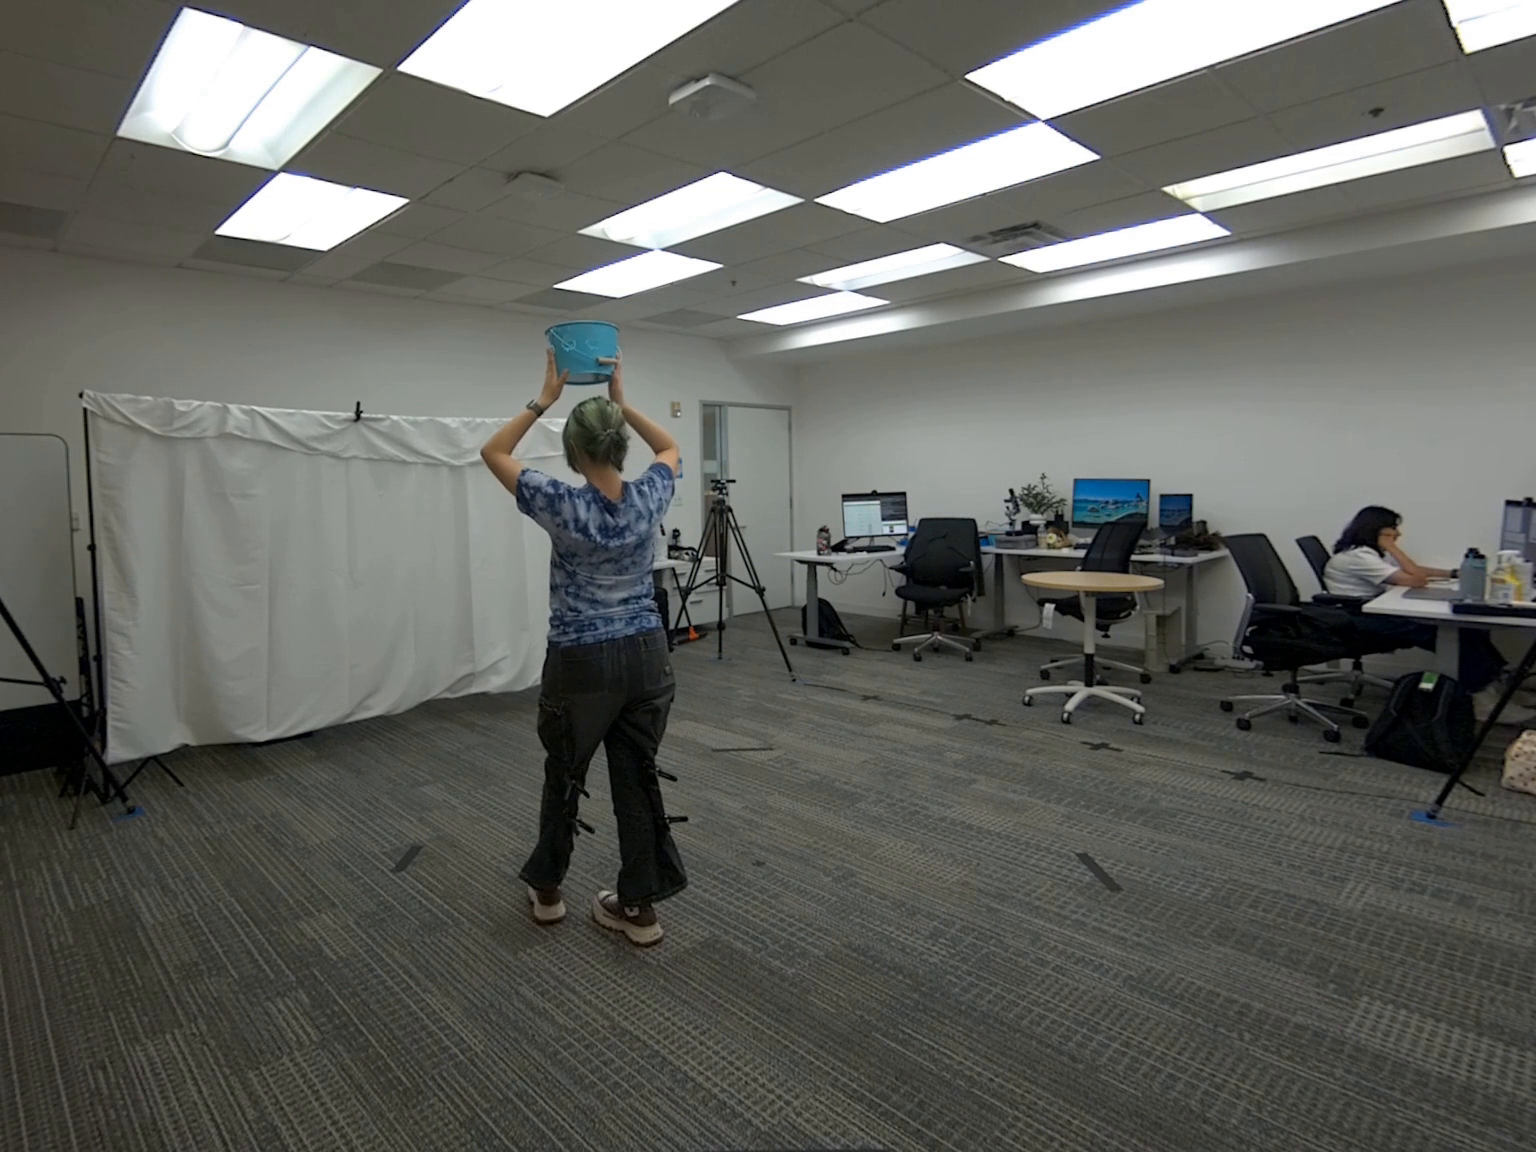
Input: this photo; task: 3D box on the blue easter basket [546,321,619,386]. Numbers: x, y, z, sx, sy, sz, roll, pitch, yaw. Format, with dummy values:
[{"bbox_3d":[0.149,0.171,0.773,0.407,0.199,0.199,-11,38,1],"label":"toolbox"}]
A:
[{"bbox_3d":[-0.584,-0.691,2.665,0.243,0.156,0.244,-6,0,-2],"label":"blue easter basket"}]
